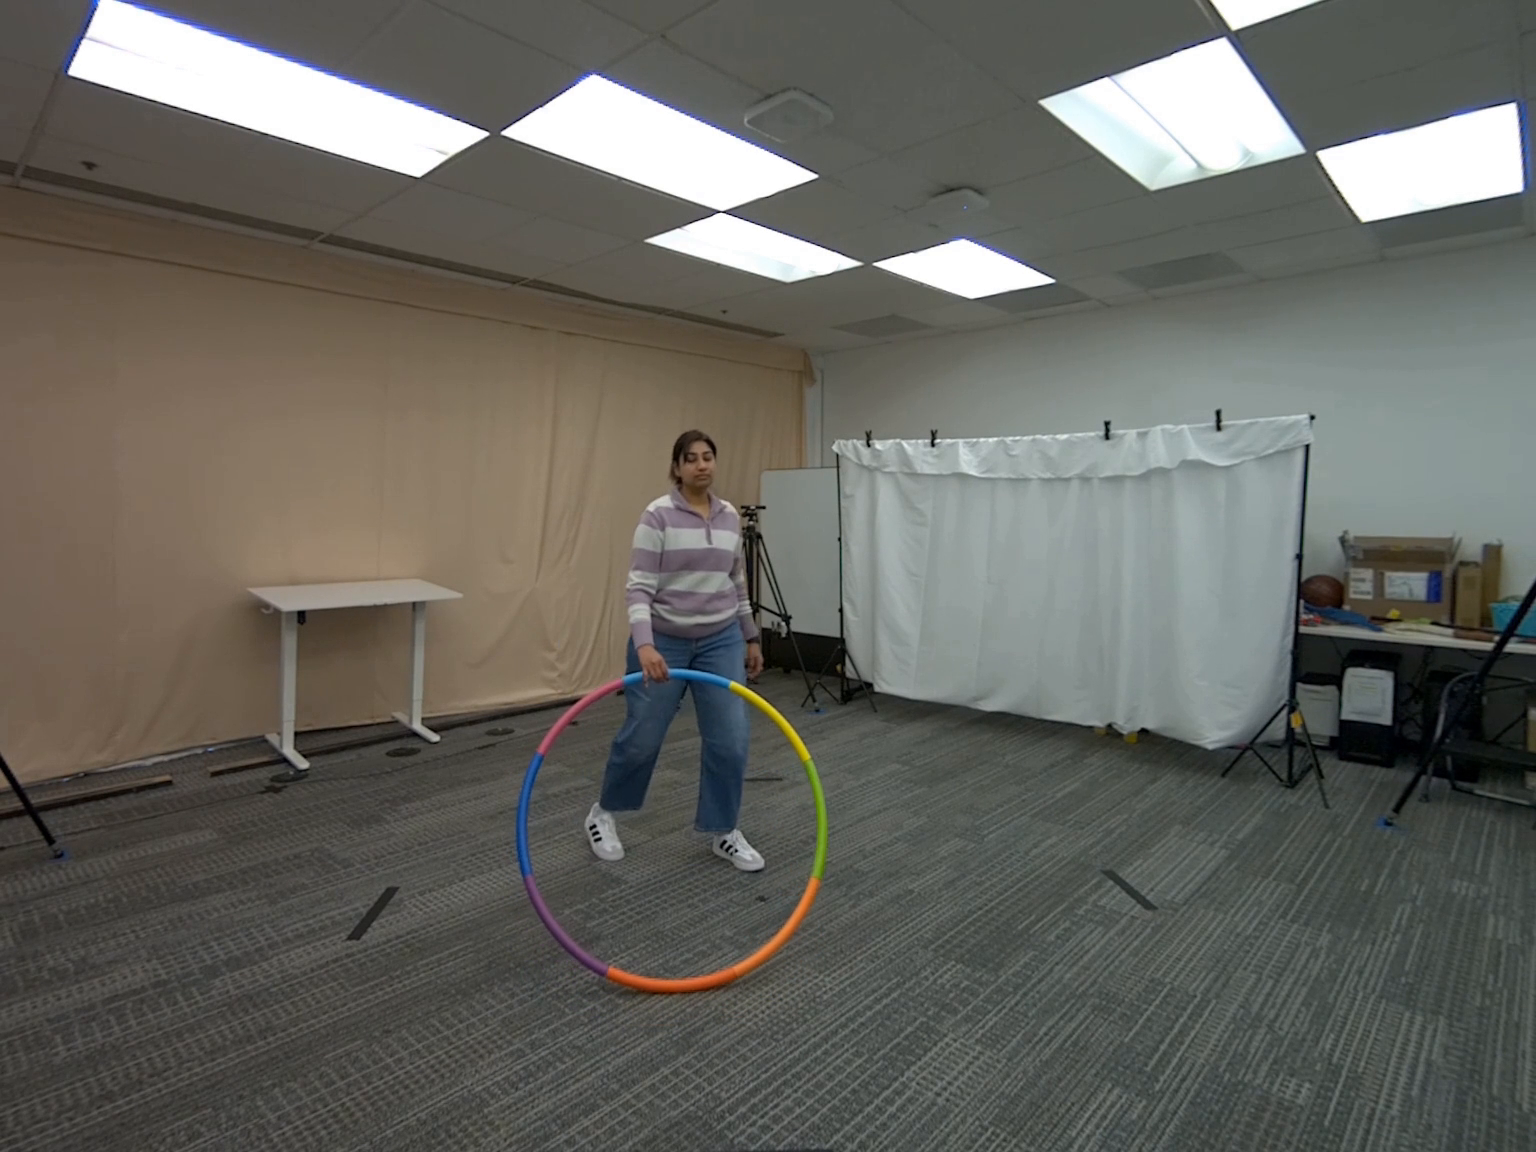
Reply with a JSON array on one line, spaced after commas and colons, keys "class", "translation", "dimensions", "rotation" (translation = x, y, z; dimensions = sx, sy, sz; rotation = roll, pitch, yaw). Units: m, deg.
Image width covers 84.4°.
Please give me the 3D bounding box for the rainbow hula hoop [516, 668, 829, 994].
[{"class": "rainbow hula hoop", "translation": [-0.287, 0.757, 2.657], "dimensions": [0.978, 1.003, 0.051], "rotation": [-1, -29, -6]}]
